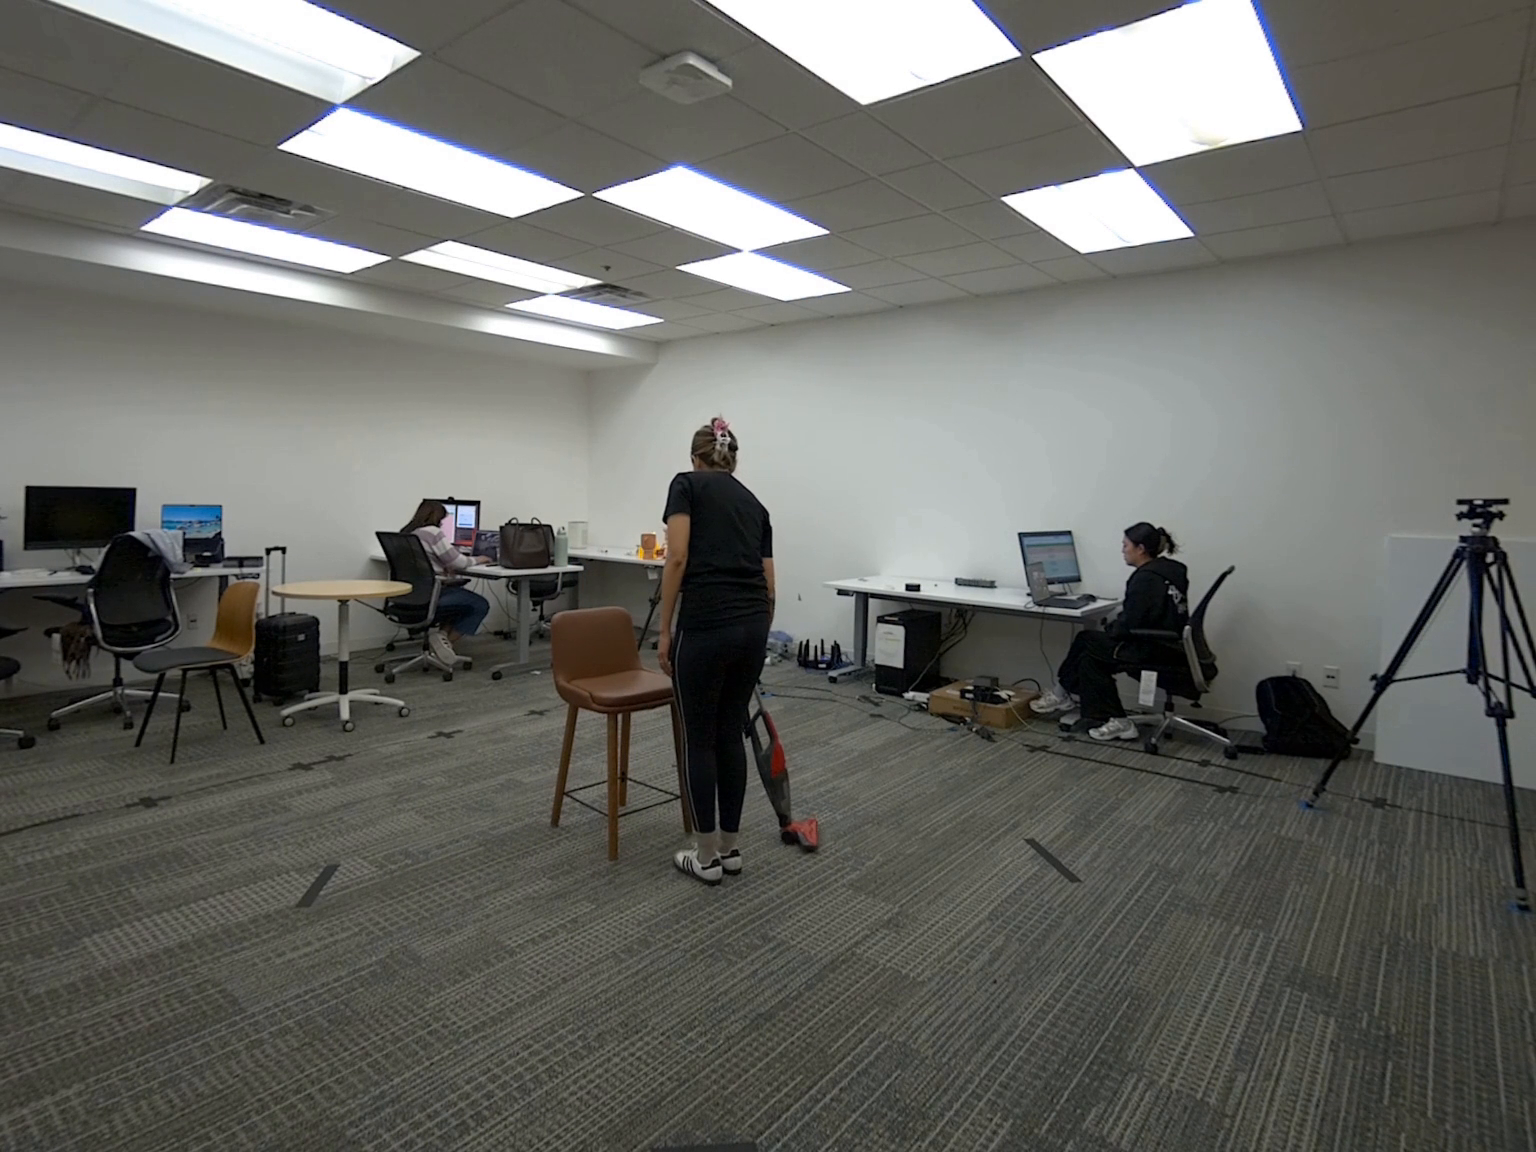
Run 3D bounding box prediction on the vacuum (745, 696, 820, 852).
[{"bbox_3d":[-0.065,0.544,3.407,0.145,1.052,0.250,-22,-2,9],"label":"vacuum"}]
